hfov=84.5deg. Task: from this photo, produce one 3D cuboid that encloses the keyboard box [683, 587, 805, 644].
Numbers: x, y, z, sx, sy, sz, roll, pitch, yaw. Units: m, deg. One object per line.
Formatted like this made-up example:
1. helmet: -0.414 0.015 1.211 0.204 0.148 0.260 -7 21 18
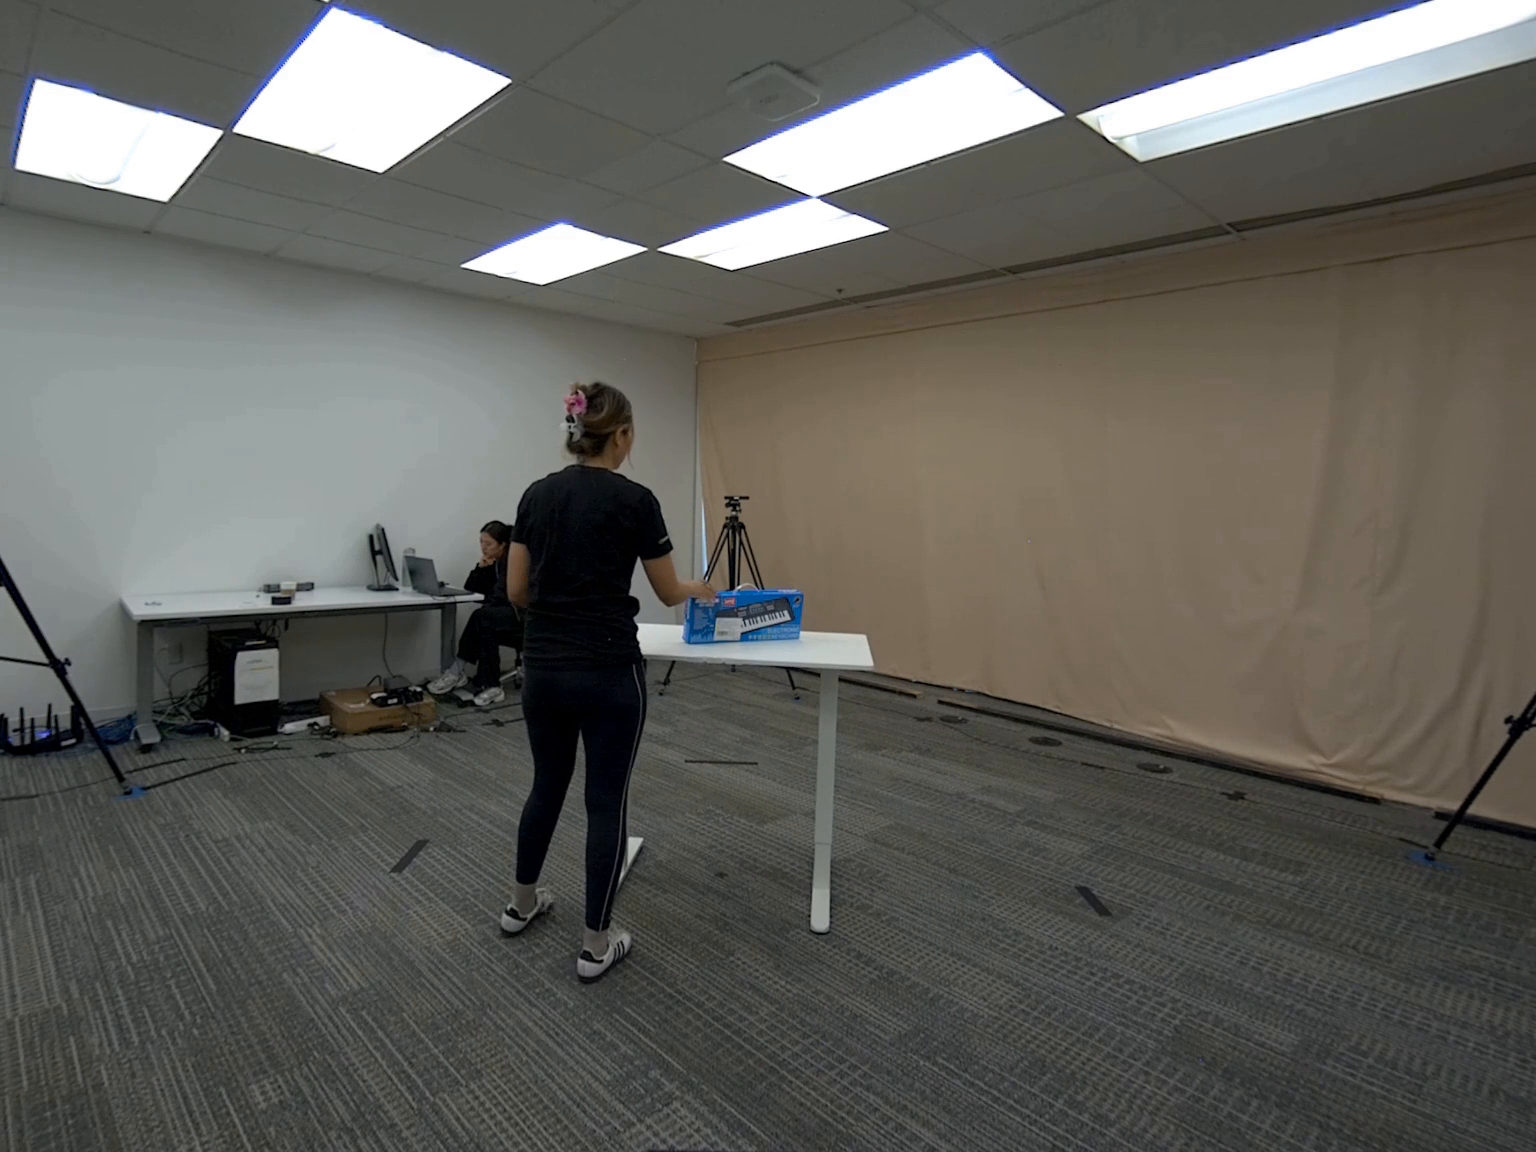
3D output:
1. keyboard box: -0.090 0.145 2.989 0.429 0.175 0.060 -1 11 -25
